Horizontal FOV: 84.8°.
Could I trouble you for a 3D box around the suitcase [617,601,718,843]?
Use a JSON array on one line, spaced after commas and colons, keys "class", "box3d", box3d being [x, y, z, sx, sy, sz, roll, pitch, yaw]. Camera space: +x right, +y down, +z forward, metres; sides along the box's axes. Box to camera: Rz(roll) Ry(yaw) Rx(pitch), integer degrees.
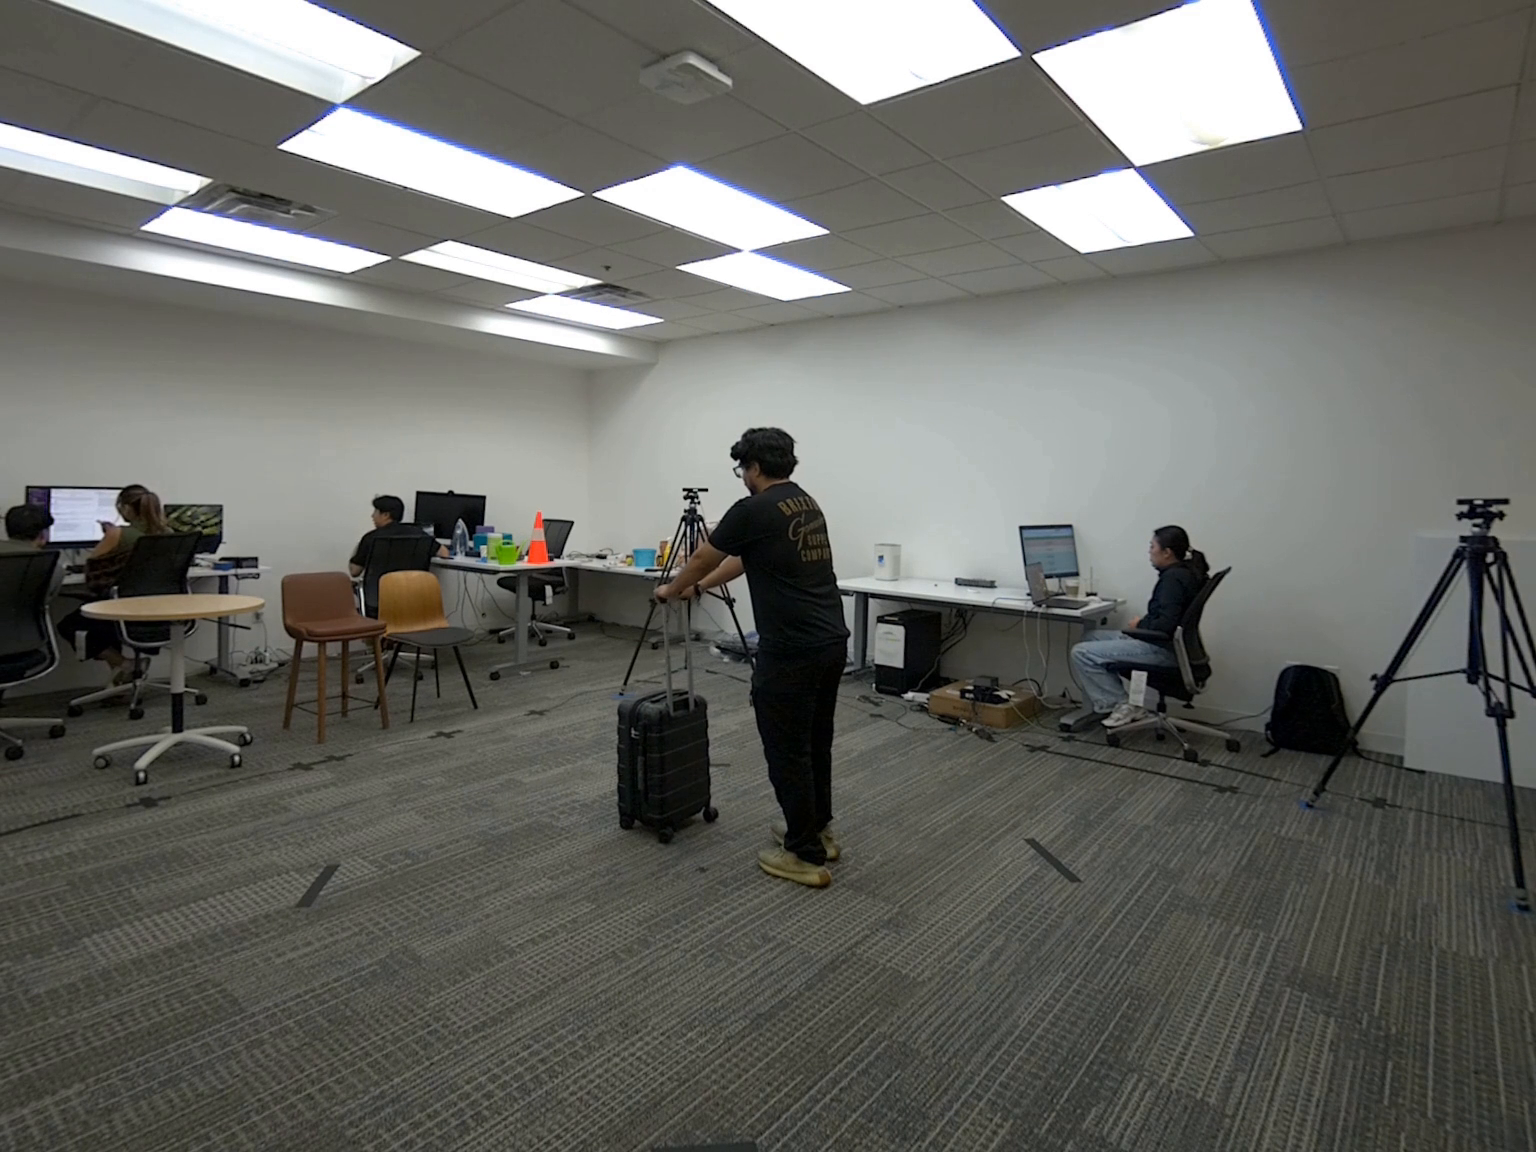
[{"class": "suitcase", "box3d": [-0.453, 0.551, 3.526, 0.265, 0.978, 0.373, -2, 1, 39]}]
